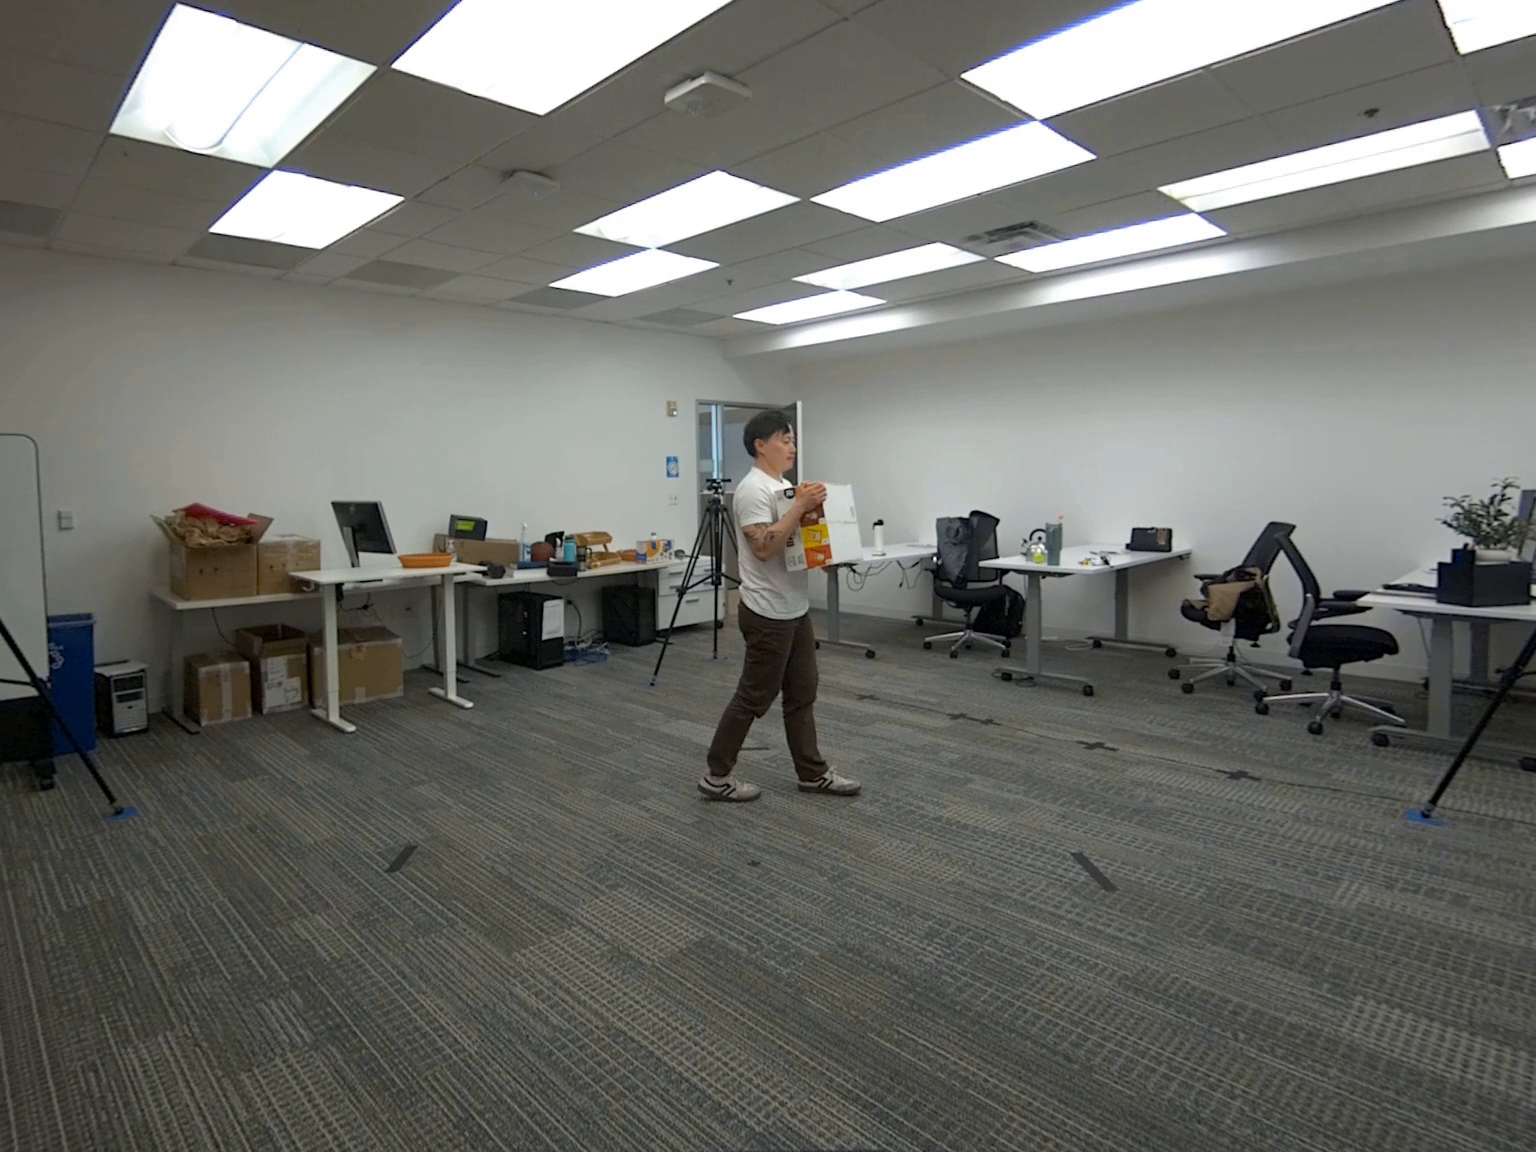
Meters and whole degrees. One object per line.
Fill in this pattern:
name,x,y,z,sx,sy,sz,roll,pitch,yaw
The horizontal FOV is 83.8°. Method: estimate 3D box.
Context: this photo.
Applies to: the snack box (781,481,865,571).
snack box,0.217,-0.213,3.631,0.210,0.341,0.397,-9,0,26
